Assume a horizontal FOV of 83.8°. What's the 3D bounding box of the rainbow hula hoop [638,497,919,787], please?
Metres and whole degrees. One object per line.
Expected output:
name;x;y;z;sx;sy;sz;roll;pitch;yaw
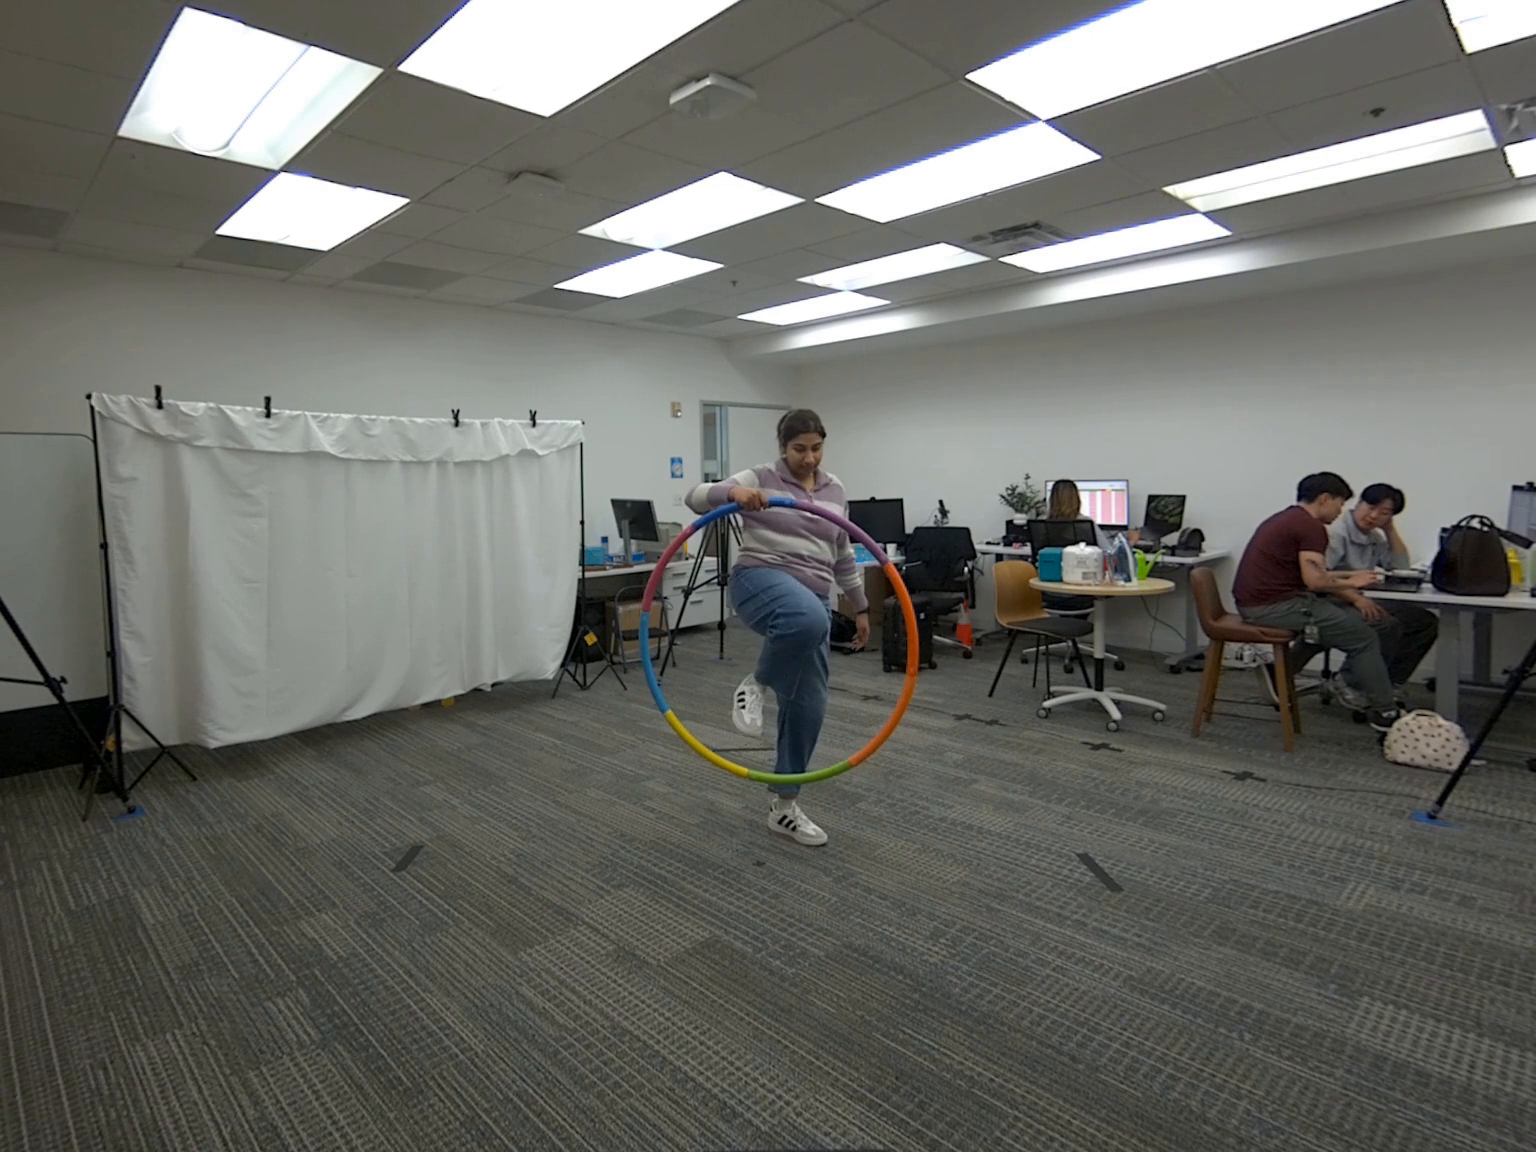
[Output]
rainbow hula hoop;0.012;0.223;2.918;1.003;0.983;0.051;1;3;19
